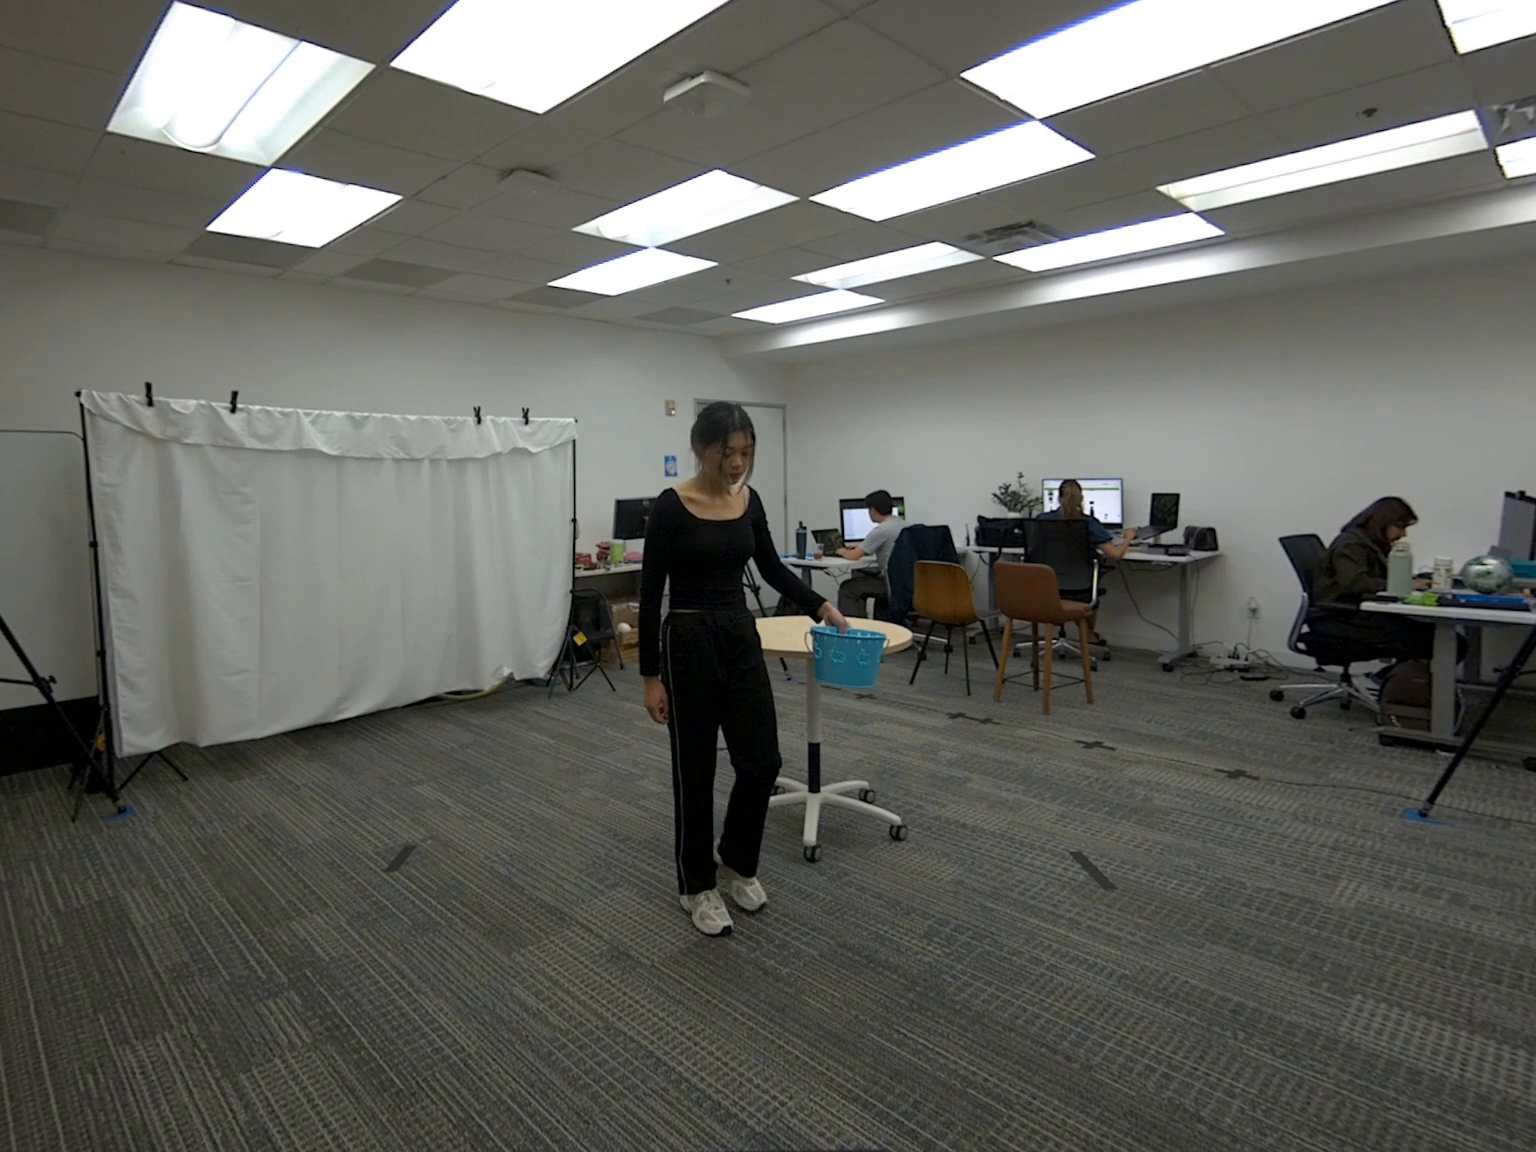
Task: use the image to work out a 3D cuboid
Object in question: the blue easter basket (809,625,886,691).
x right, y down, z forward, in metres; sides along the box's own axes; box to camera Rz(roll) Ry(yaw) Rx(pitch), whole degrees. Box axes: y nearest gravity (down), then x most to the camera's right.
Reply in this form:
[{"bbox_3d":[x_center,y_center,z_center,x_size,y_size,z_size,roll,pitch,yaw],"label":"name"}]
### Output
[{"bbox_3d":[0.237,0.243,2.546,0.243,0.156,0.244,4,2,-2],"label":"blue easter basket"}]
